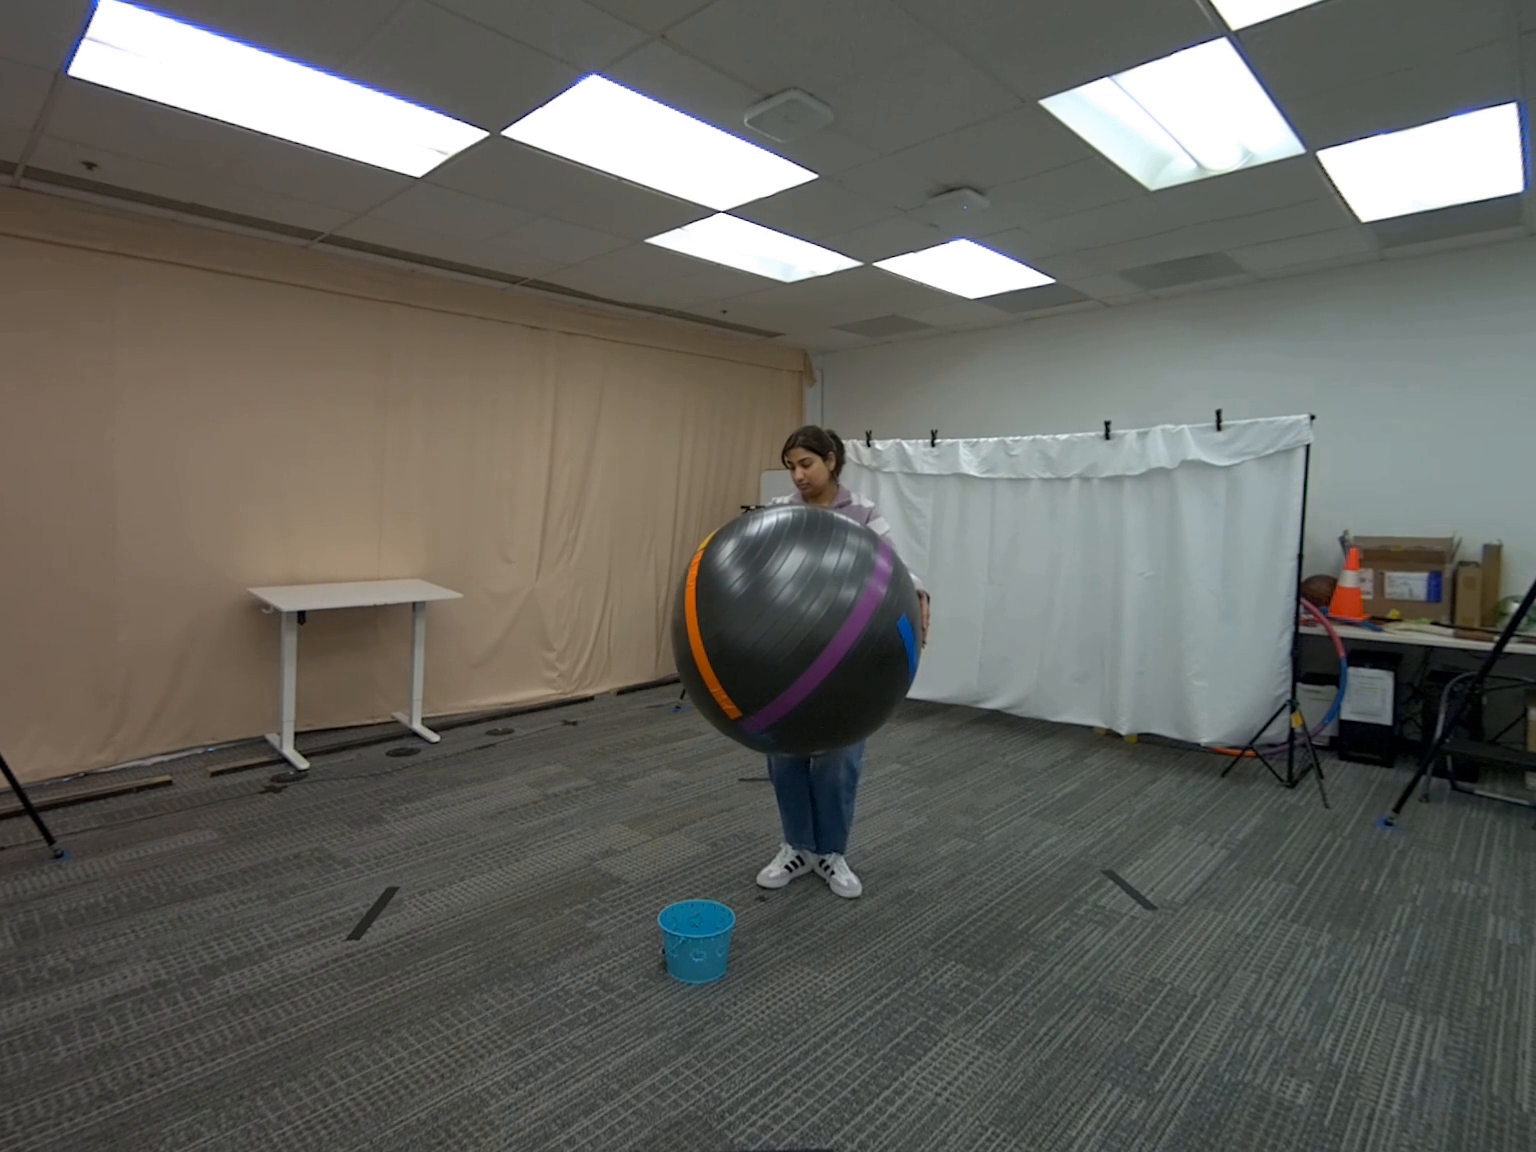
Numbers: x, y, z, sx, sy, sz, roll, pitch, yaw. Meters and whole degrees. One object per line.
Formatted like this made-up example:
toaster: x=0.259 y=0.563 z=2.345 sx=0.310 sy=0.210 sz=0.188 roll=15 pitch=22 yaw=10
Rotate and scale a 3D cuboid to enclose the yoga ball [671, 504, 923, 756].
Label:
yoga ball: x=0.086 y=0.167 z=2.547 sx=0.757 sy=0.756 sz=0.761 roll=0 pitch=4 yaw=-2
